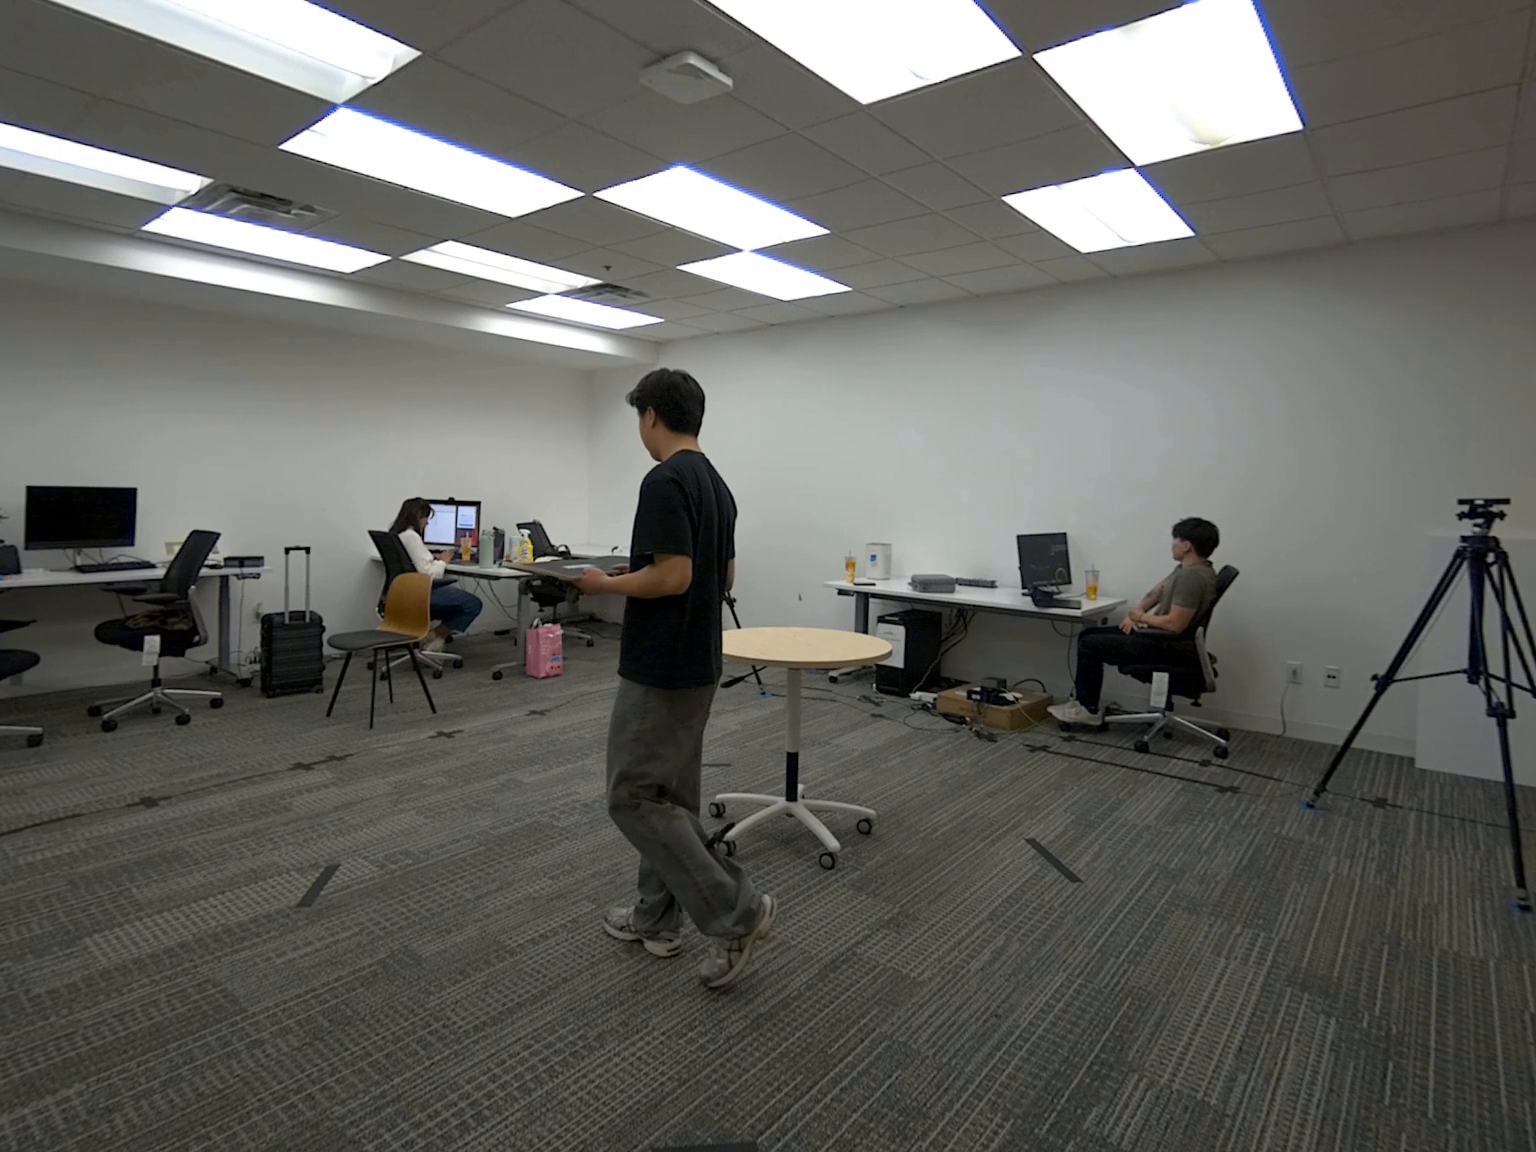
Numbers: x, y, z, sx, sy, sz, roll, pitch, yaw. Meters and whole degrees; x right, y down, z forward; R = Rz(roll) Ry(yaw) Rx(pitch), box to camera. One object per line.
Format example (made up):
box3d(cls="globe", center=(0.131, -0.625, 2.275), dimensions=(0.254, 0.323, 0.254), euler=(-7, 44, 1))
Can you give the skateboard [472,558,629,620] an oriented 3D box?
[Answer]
box3d(cls="skateboard", center=(-0.592, 0.023, 2.558), dimensions=(0.197, 0.110, 0.774), euler=(5, 4, 13))
